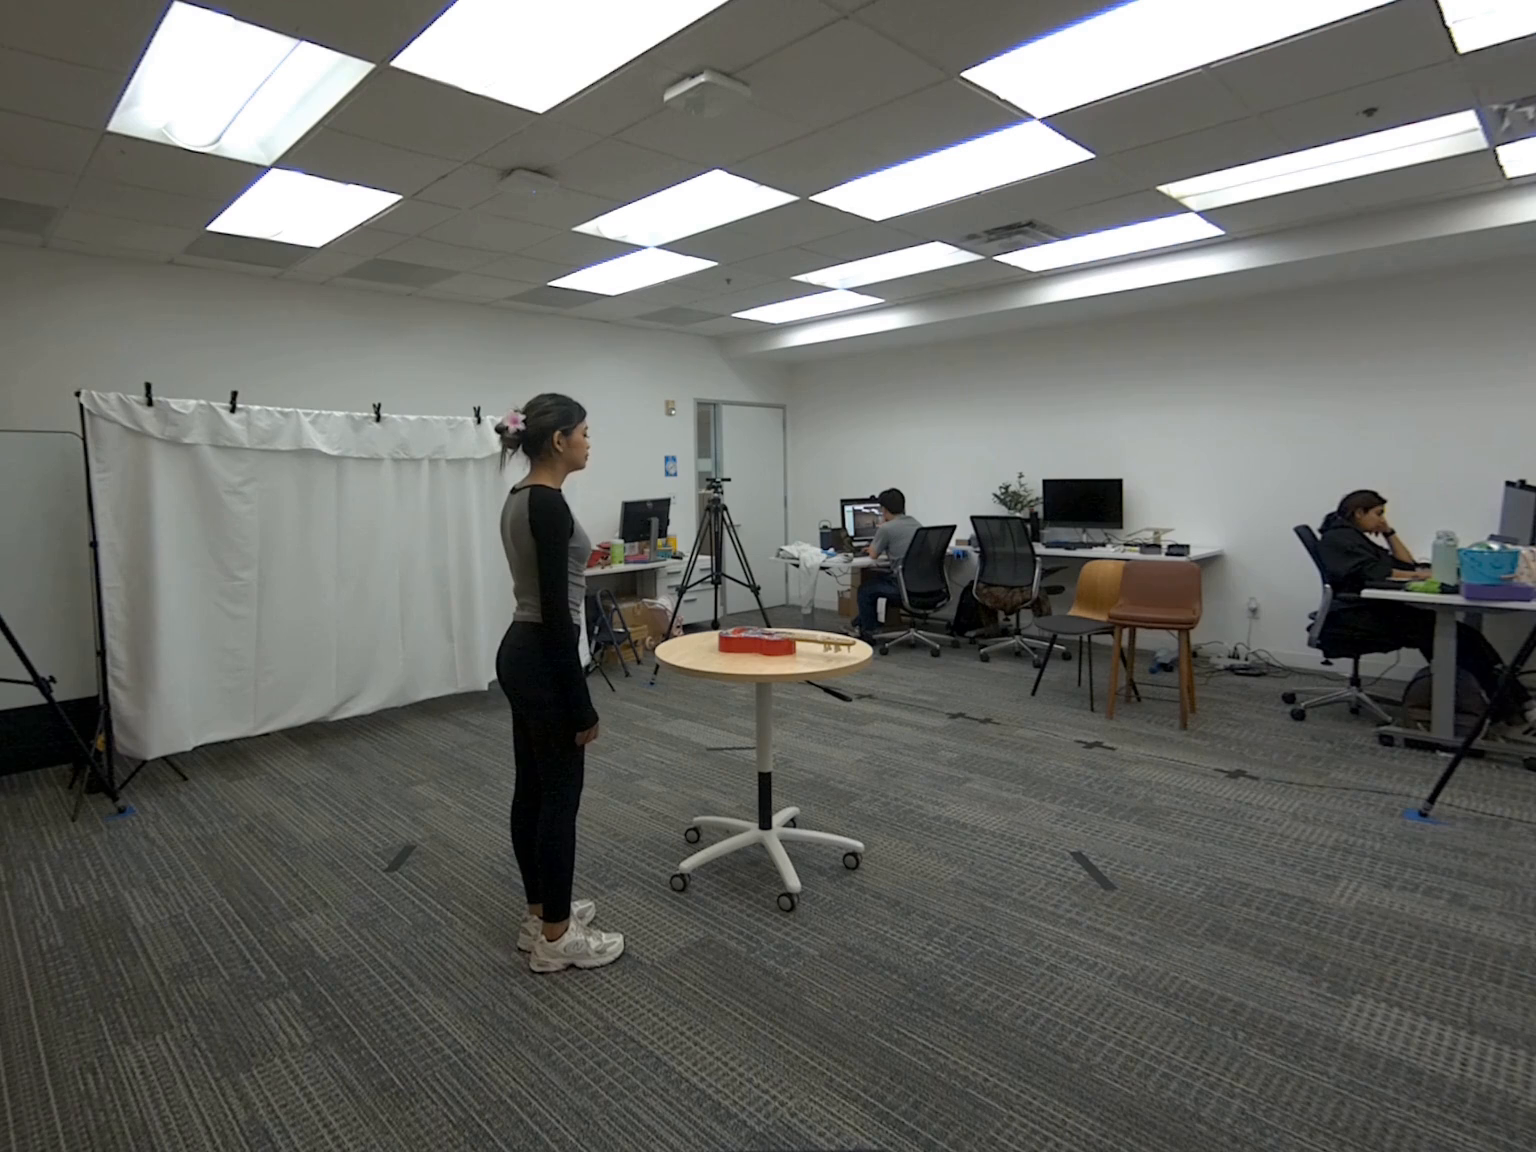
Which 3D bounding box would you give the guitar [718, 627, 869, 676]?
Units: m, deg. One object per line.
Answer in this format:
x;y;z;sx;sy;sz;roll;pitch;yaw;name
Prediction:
0.050;0.237;2.927;0.513;0.070;0.188;4;9;38;guitar
